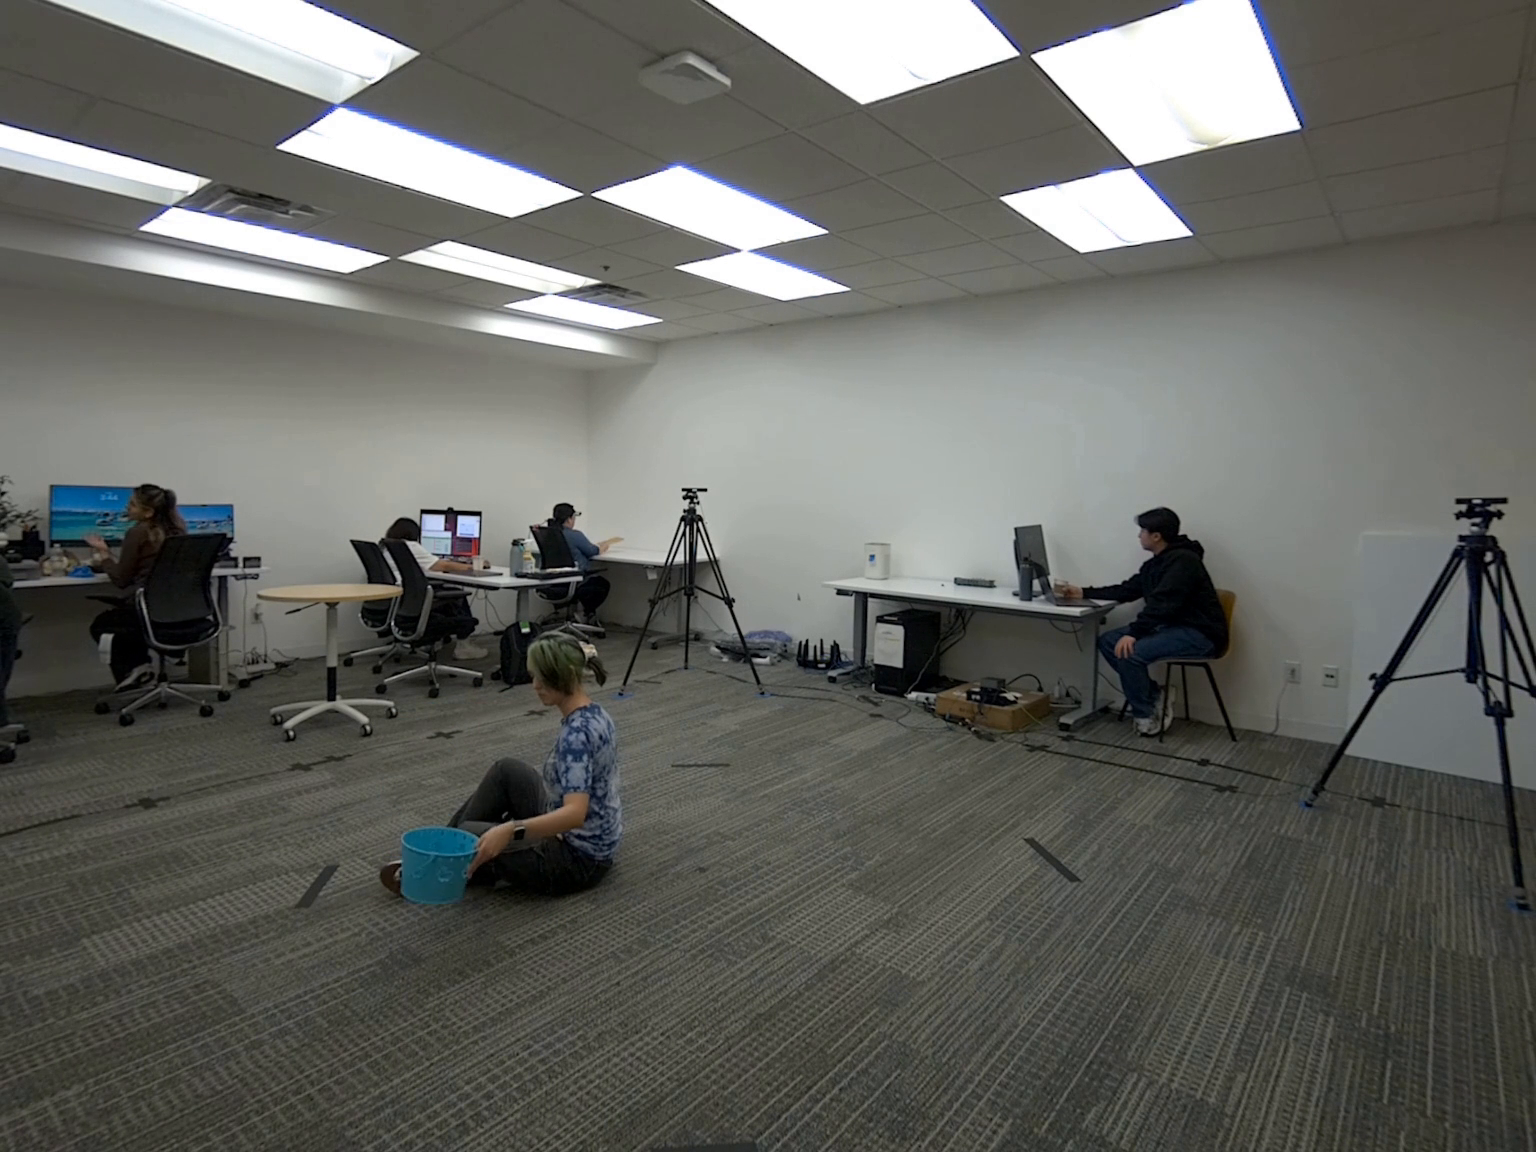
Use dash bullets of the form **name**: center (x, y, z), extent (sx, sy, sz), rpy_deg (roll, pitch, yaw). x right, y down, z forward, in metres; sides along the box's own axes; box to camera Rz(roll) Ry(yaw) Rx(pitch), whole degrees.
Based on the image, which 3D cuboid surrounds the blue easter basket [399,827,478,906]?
- **blue easter basket**: center (-1.011, 0.863, 2.553), extent (0.243, 0.156, 0.243), rpy_deg (10, -1, -2)
